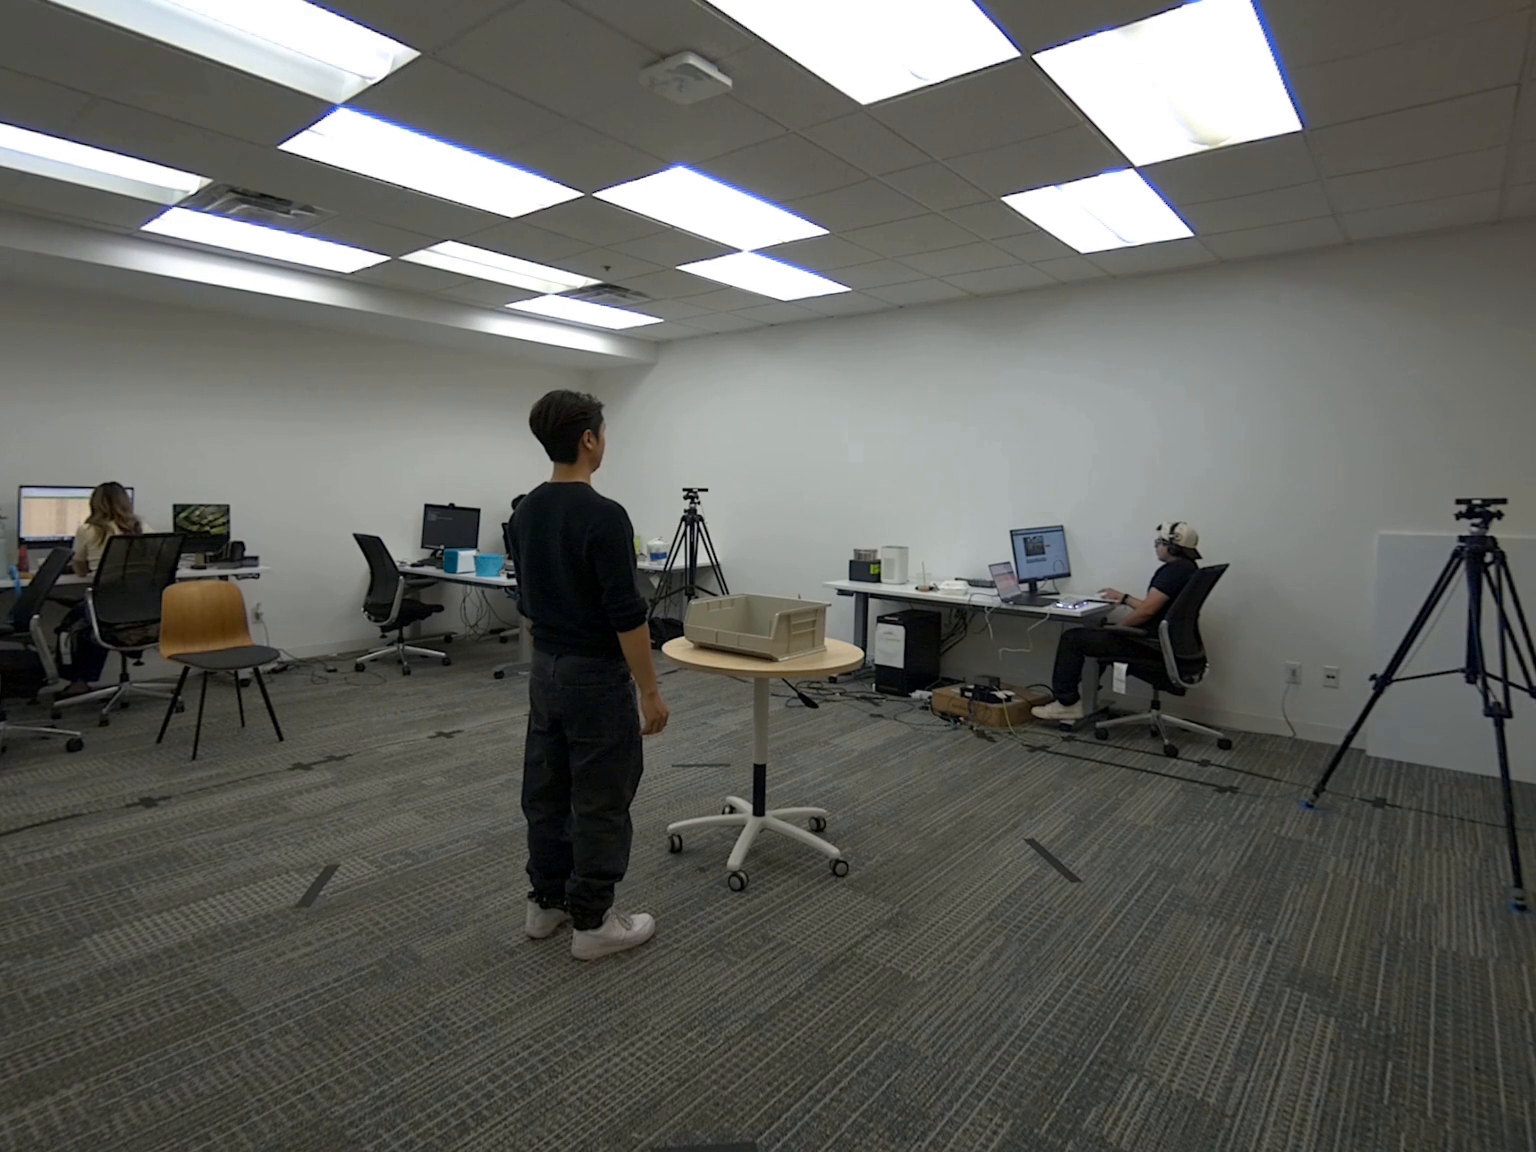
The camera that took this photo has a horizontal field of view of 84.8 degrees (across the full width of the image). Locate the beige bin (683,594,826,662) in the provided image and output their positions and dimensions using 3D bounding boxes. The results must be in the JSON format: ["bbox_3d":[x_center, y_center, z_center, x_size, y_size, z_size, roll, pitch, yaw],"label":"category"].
[{"bbox_3d":[-0.051,0.188,3.230,0.436,0.188,0.366,5,5,38],"label":"beige bin"}]
